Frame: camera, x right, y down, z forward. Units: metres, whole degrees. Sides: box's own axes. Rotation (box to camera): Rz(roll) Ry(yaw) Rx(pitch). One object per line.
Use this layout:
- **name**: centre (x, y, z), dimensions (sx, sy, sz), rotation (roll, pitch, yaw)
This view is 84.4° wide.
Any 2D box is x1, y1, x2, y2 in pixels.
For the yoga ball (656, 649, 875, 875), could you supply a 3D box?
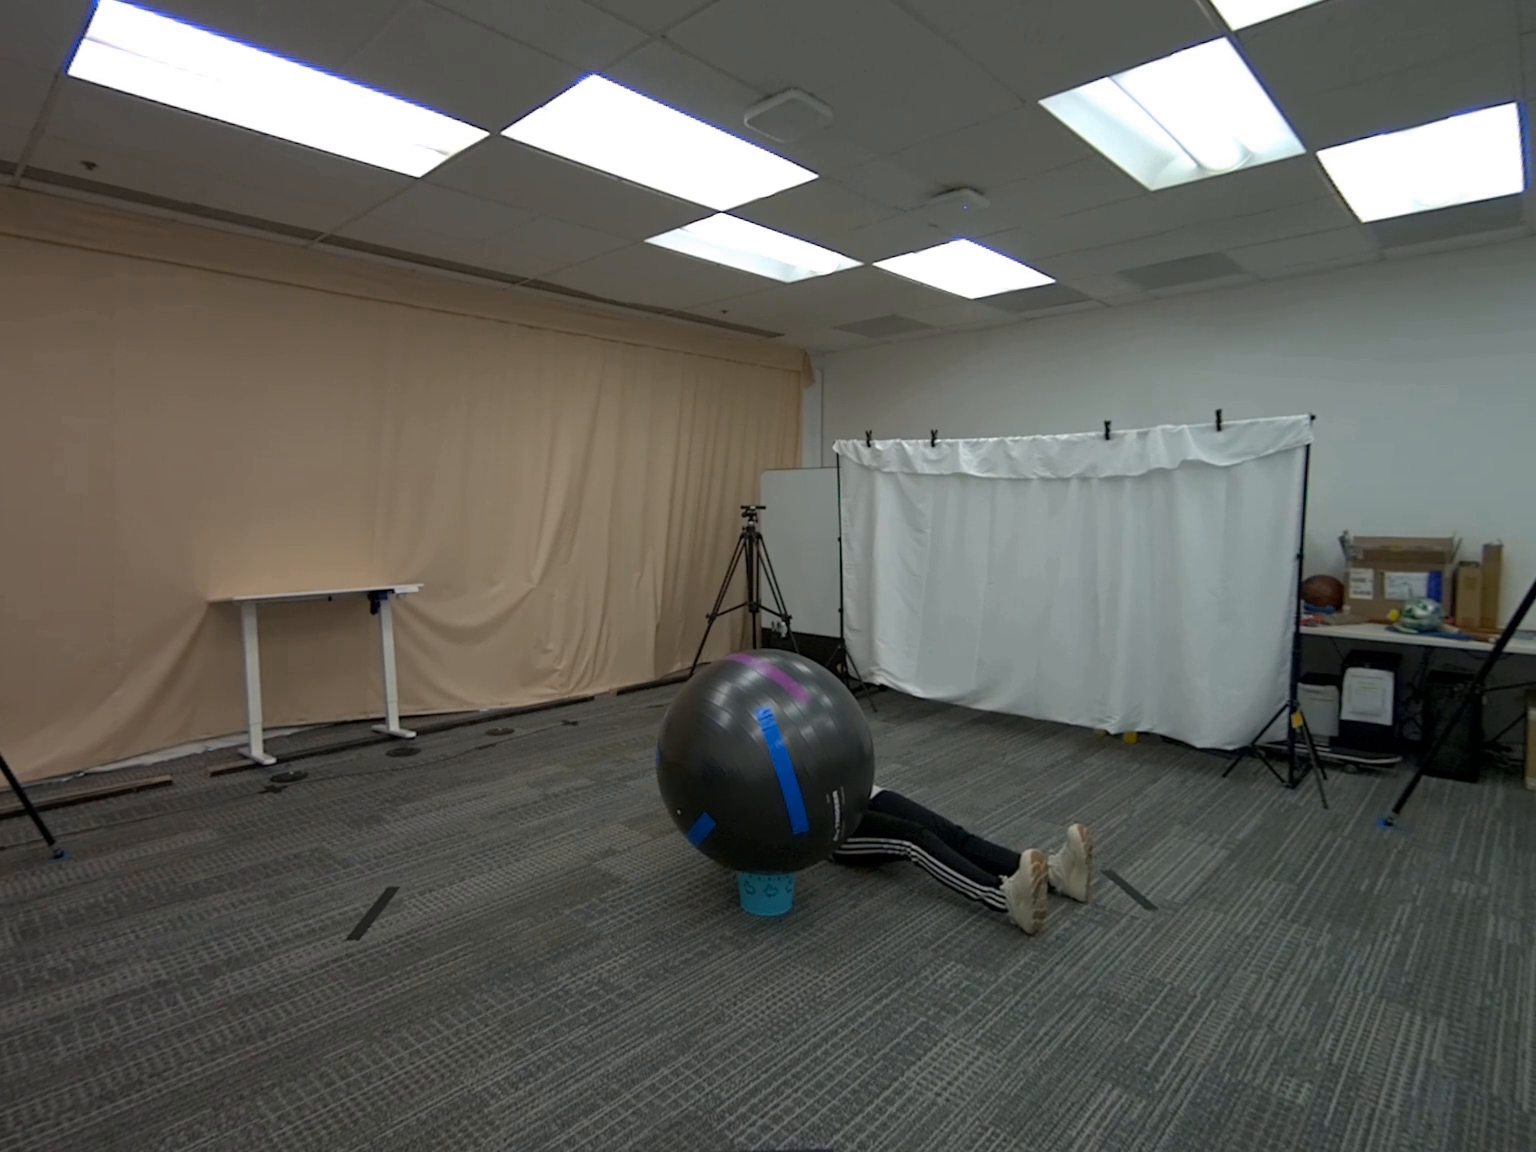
- **yoga ball**: centre (-0.007, 0.635, 2.928), dimensions (0.757, 0.756, 0.760), rotation (0, 4, -2)
